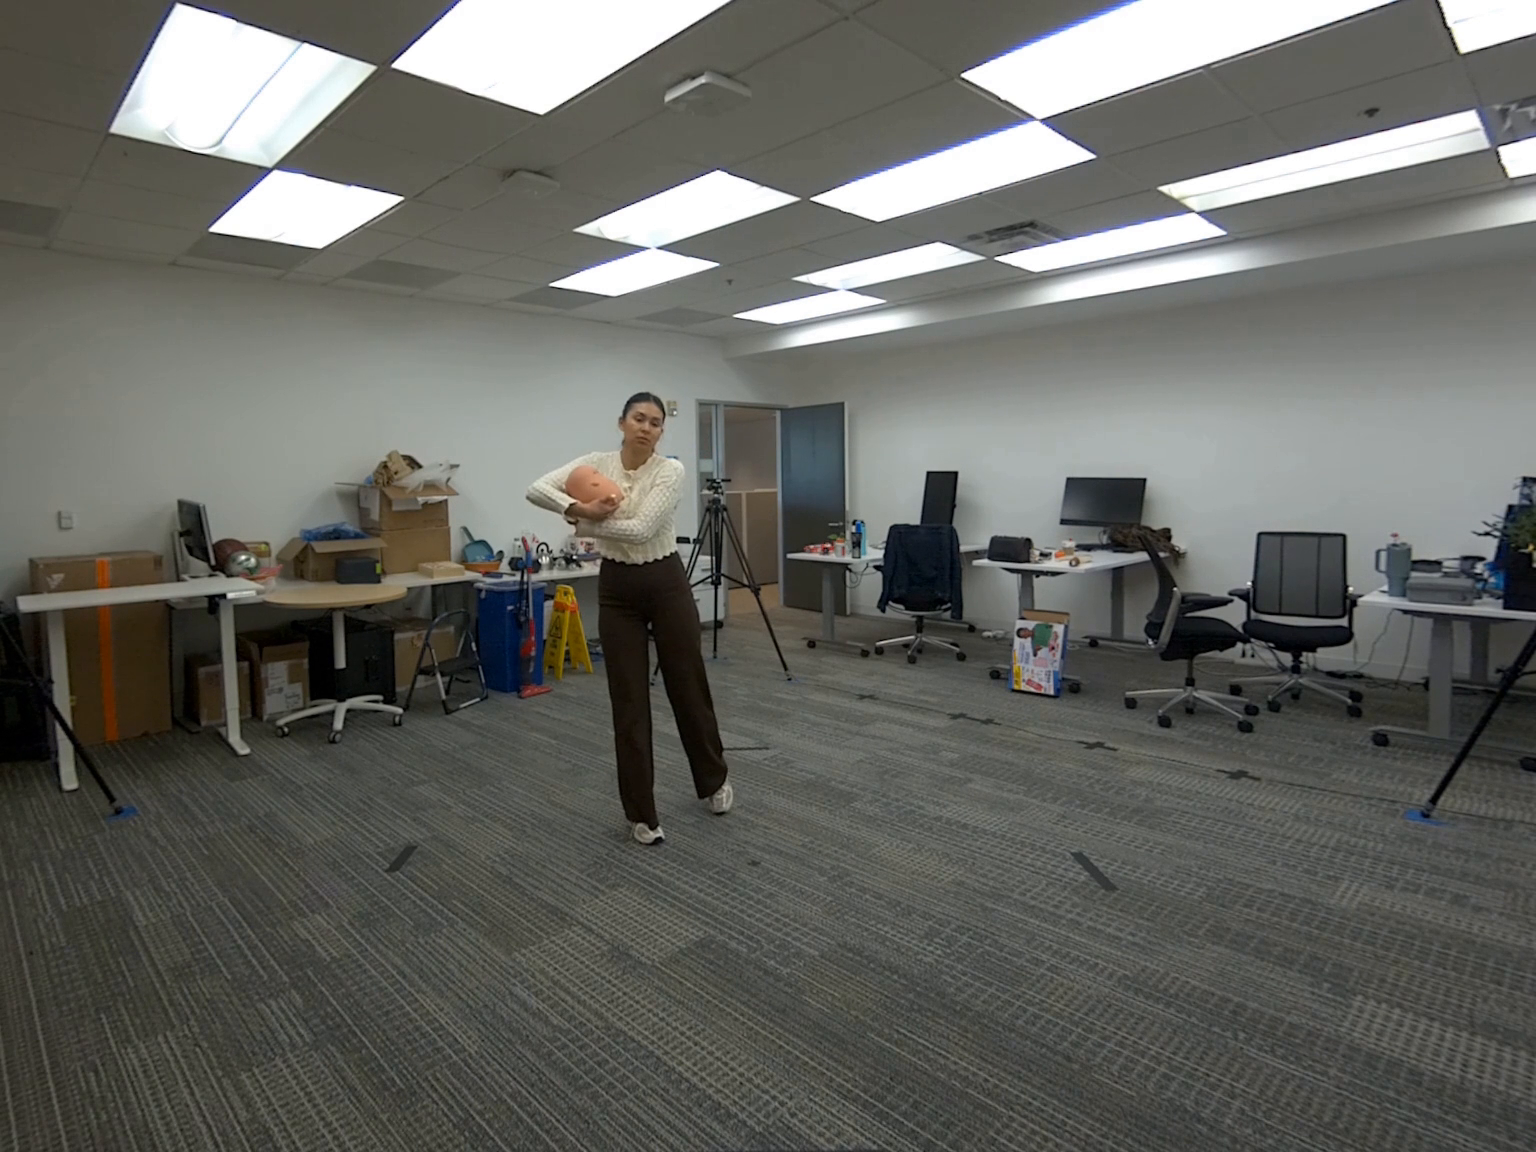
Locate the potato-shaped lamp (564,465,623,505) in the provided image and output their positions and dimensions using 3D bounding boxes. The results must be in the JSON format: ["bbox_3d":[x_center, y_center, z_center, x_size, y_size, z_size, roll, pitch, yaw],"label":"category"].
[{"bbox_3d":[-0.638,-0.304,3.094,0.172,0.197,0.165,-35,6,14],"label":"potato-shaped lamp"}]
